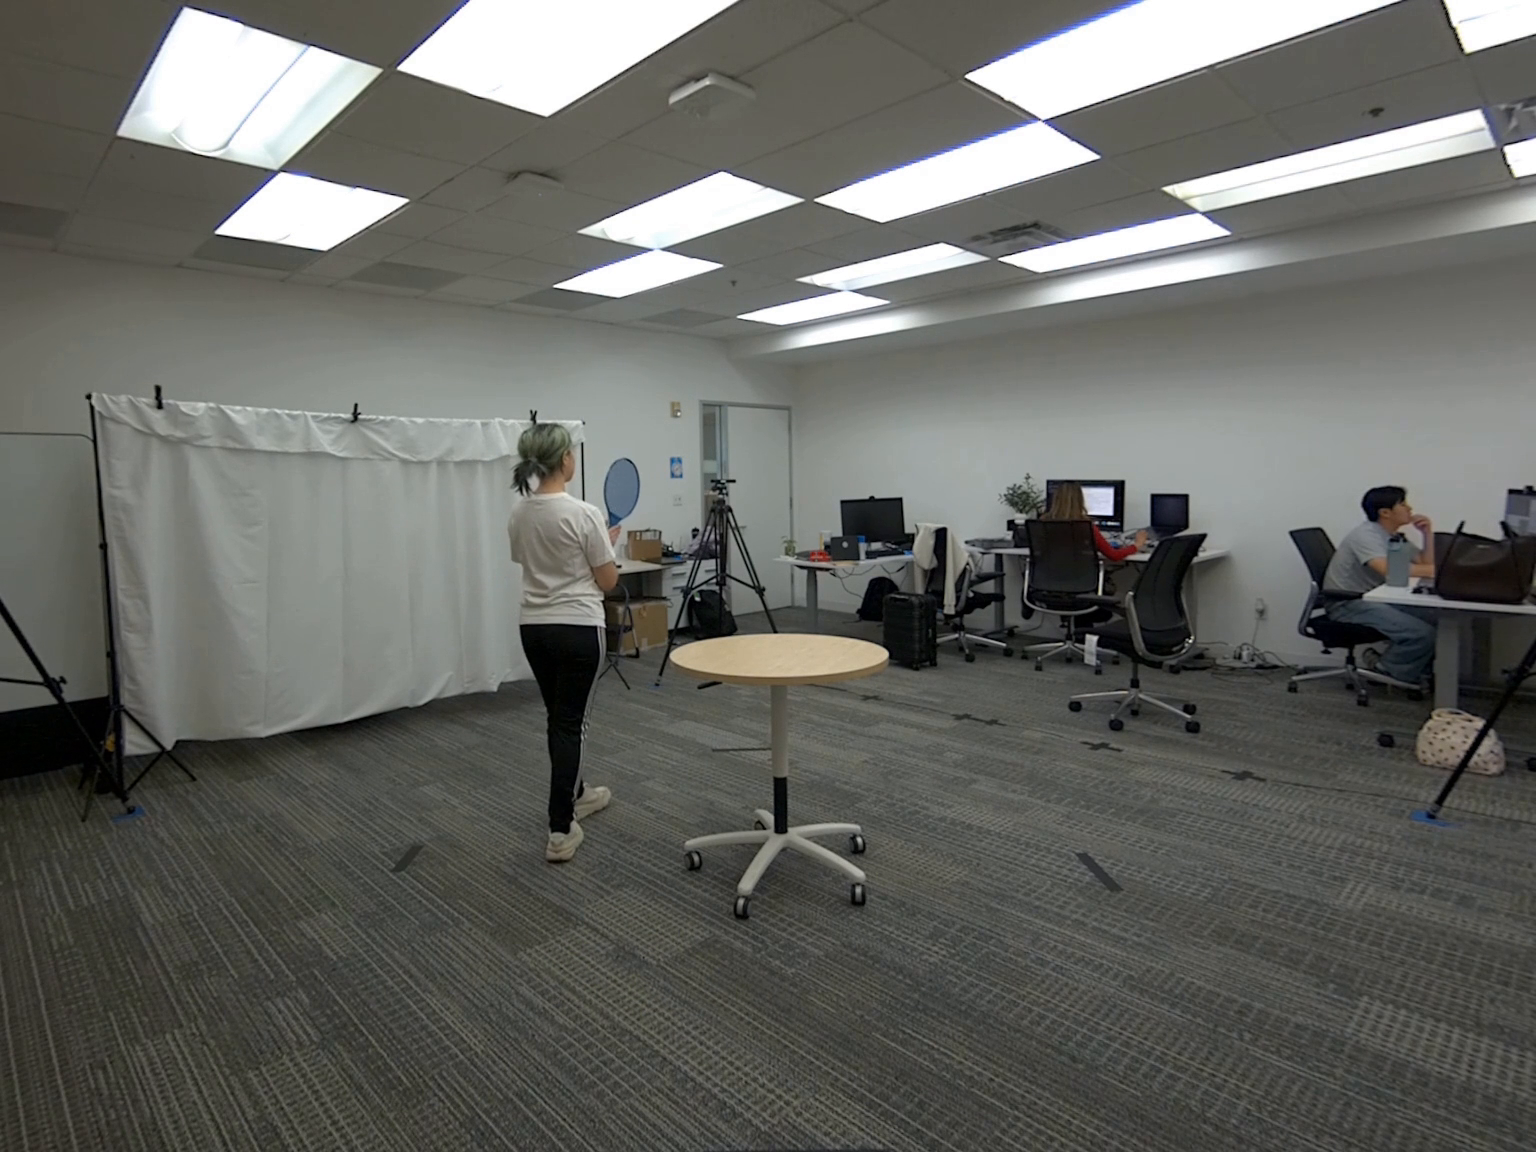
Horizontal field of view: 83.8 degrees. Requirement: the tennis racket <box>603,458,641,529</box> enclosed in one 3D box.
[{"bbox_3d":[-0.643,-0.301,3.613,0.032,0.438,0.205,1,-25,36],"label":"tennis racket"}]
